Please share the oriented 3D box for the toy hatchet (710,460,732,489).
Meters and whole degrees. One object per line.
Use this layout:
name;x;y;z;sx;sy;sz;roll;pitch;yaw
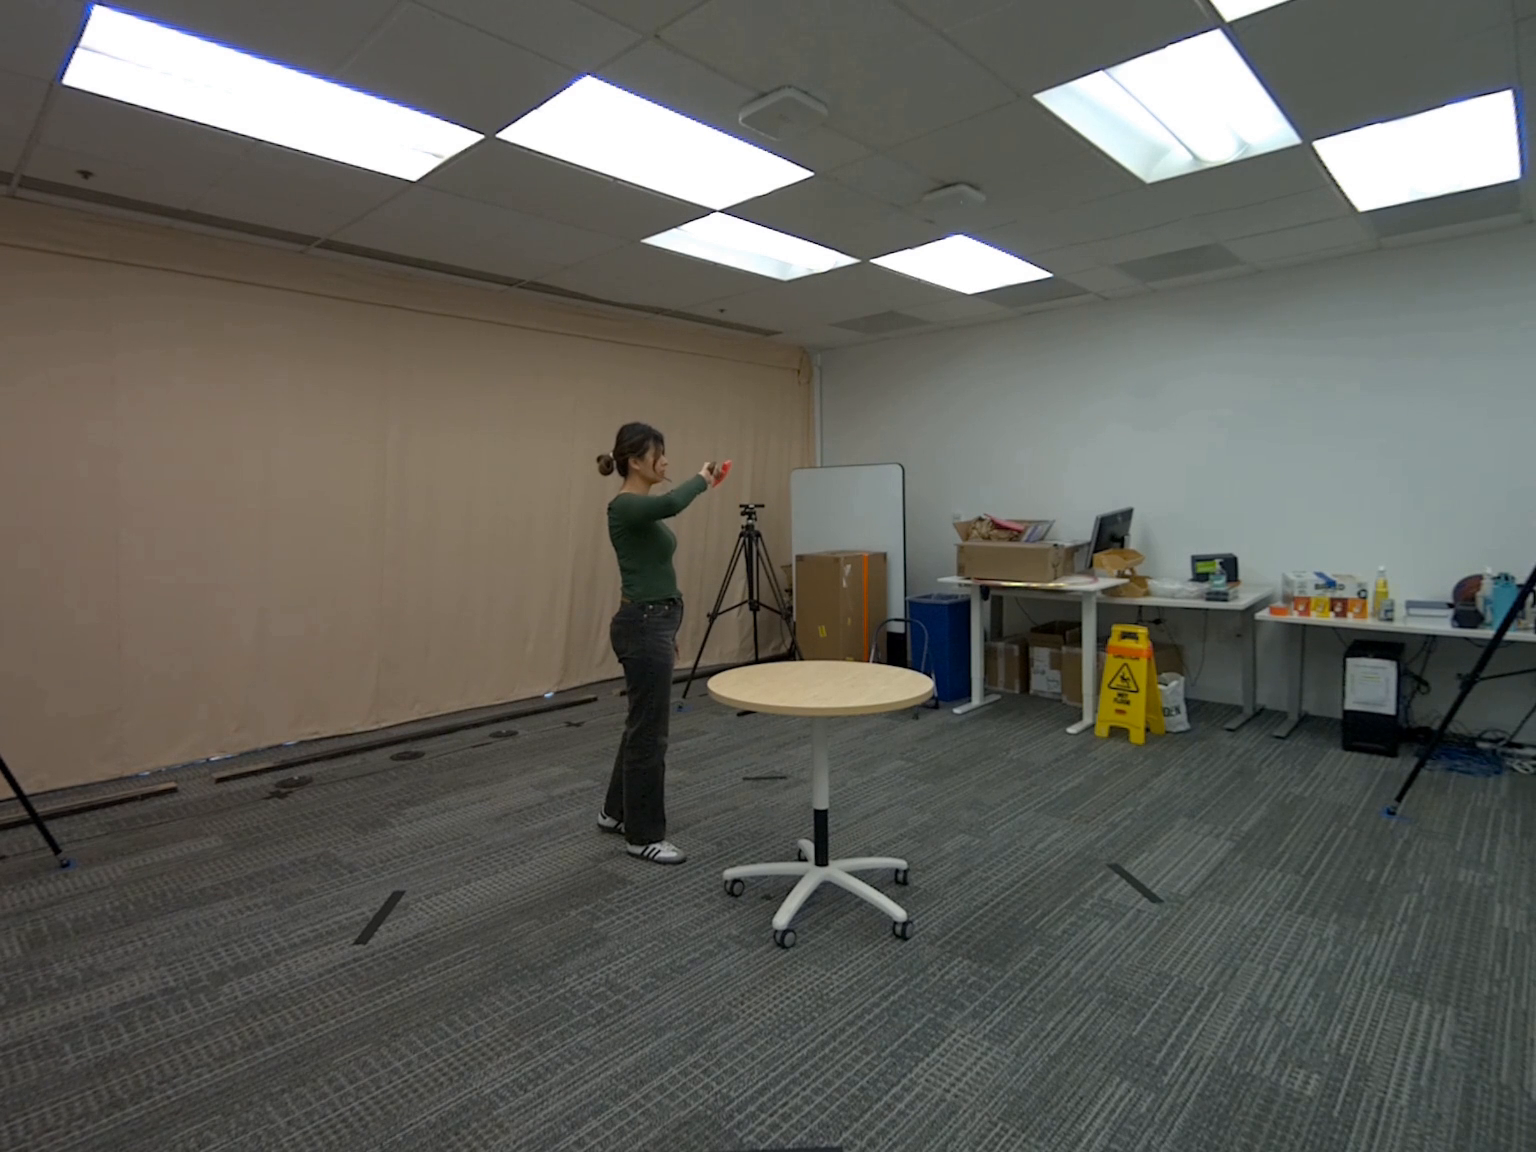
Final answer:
toy hatchet;-0.187;-0.426;3.283;0.030;0.131;0.268;38;-6;4
